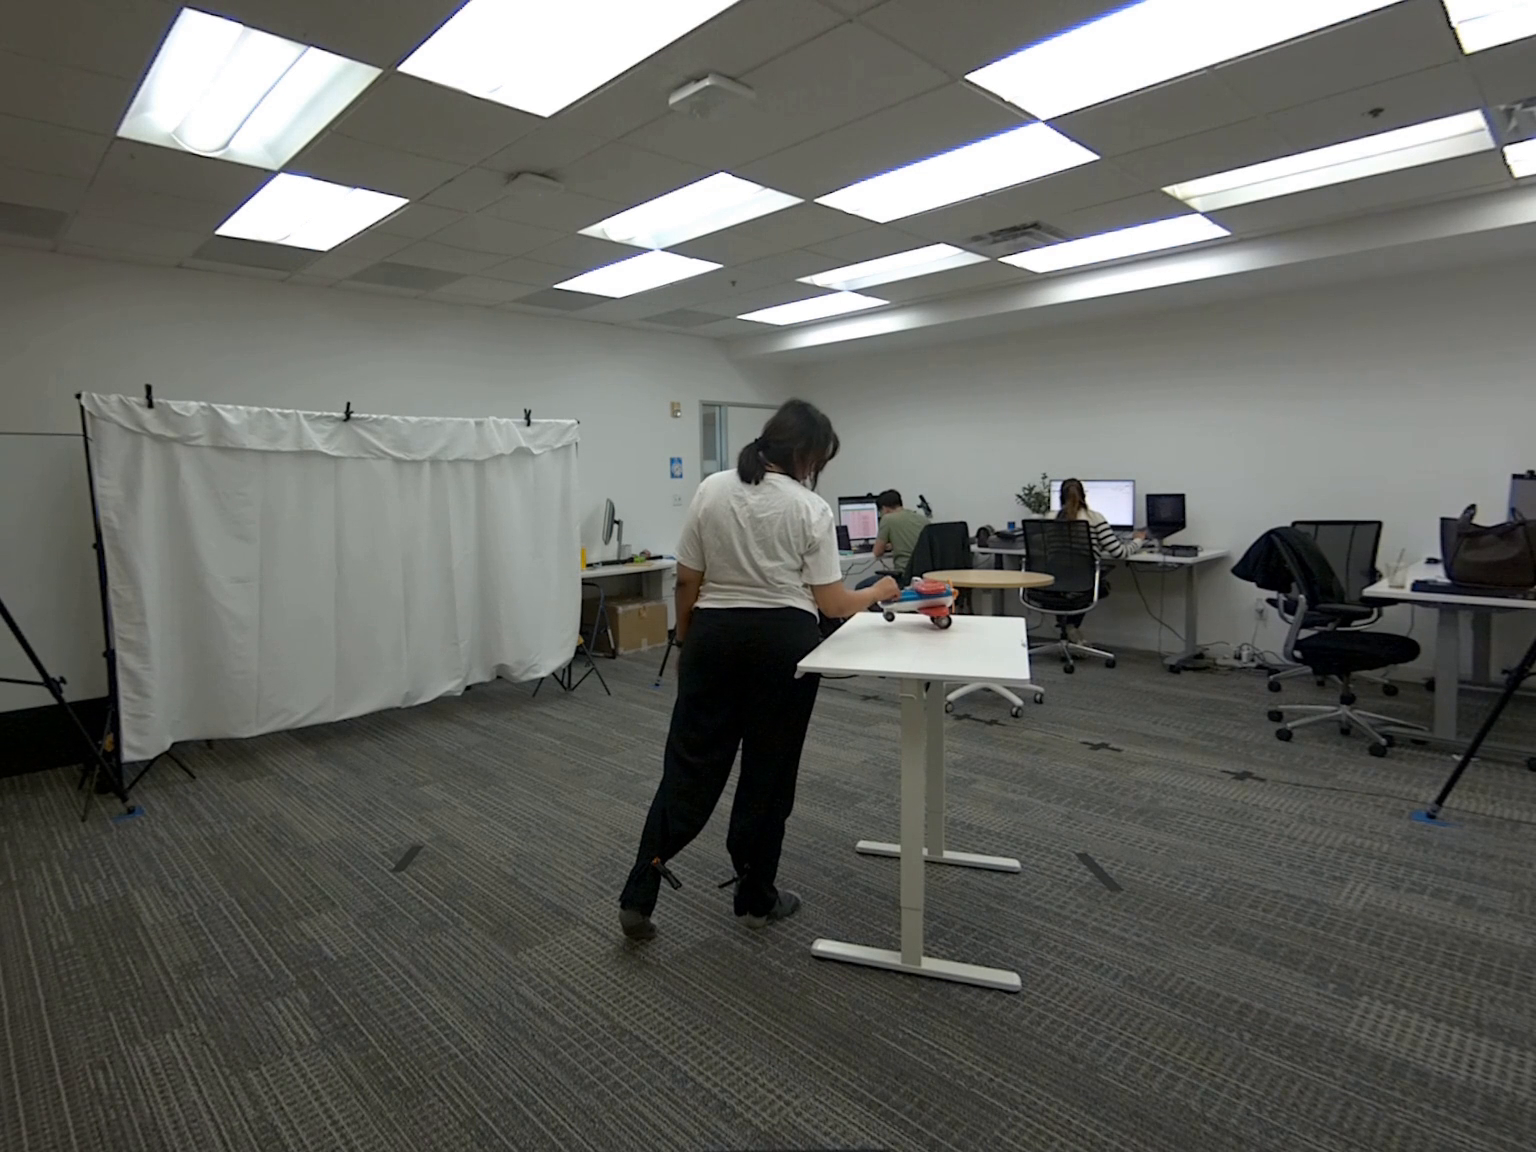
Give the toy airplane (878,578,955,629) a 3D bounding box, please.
[{"bbox_3d":[0.526,0.093,2.906,0.253,0.156,0.258,4,6,-28],"label":"toy airplane"}]
